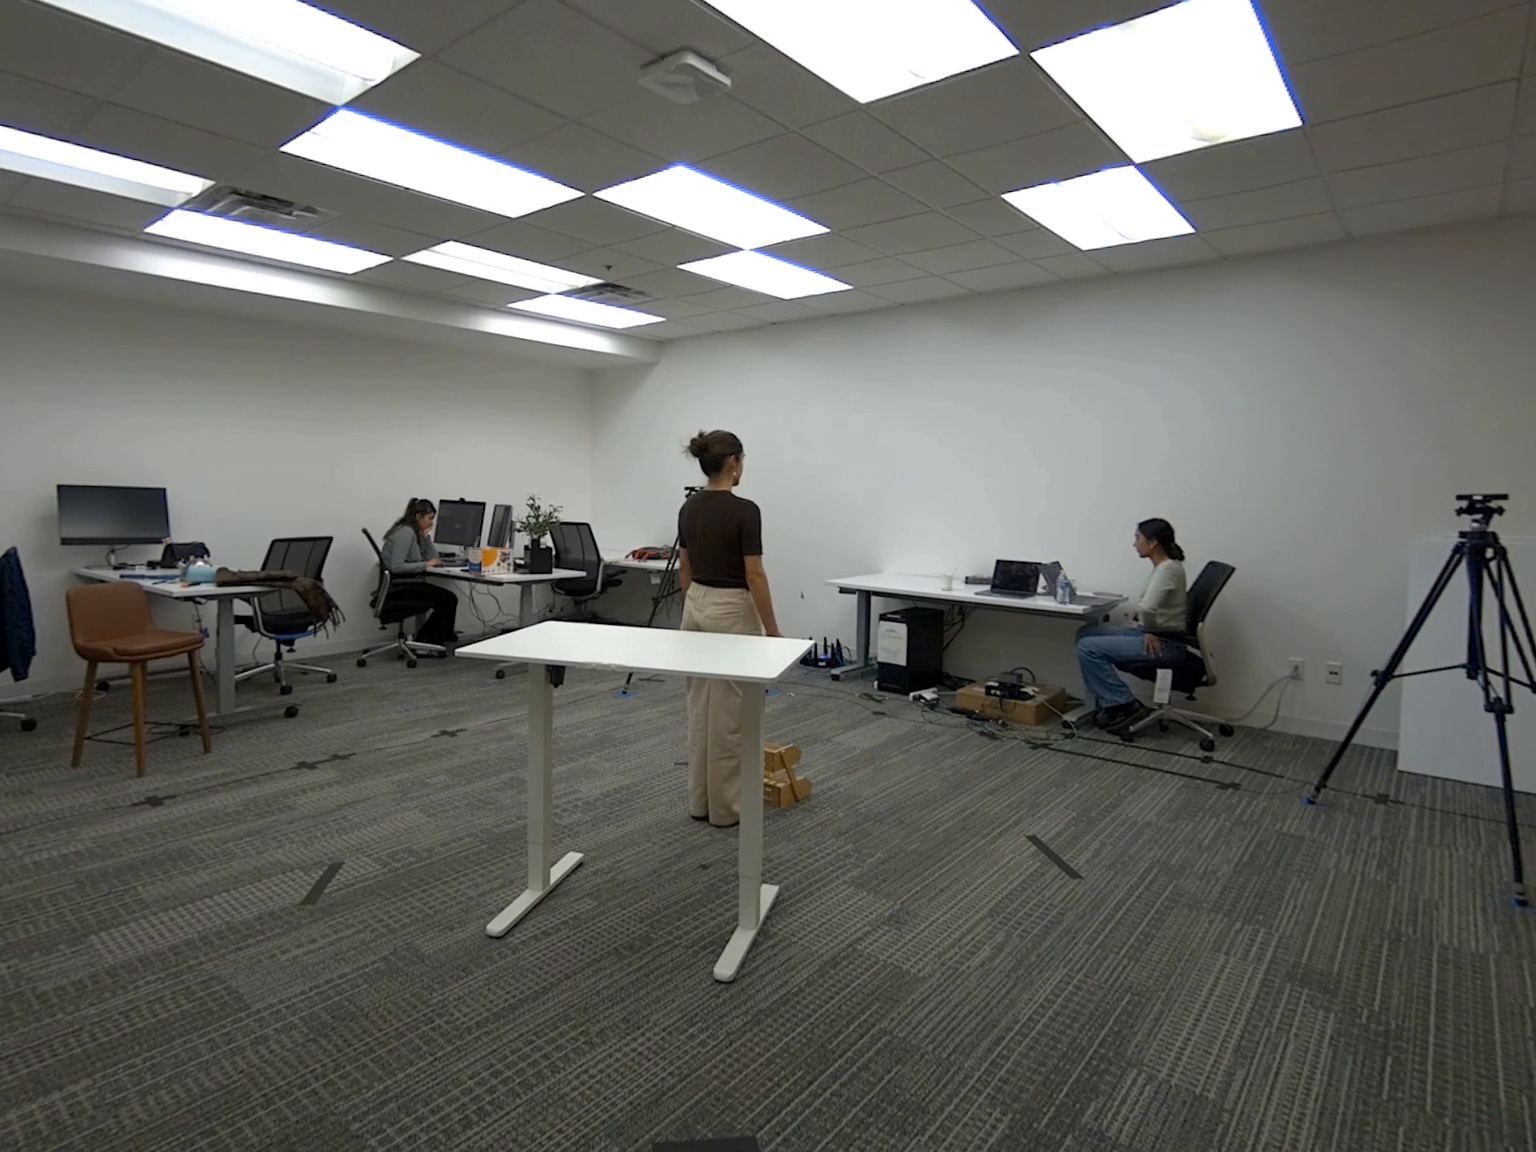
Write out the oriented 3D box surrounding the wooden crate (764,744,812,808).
[{"bbox_3d":[-0.012,0.863,3.878,0.335,0.272,0.293,4,7,39],"label":"wooden crate"}]
